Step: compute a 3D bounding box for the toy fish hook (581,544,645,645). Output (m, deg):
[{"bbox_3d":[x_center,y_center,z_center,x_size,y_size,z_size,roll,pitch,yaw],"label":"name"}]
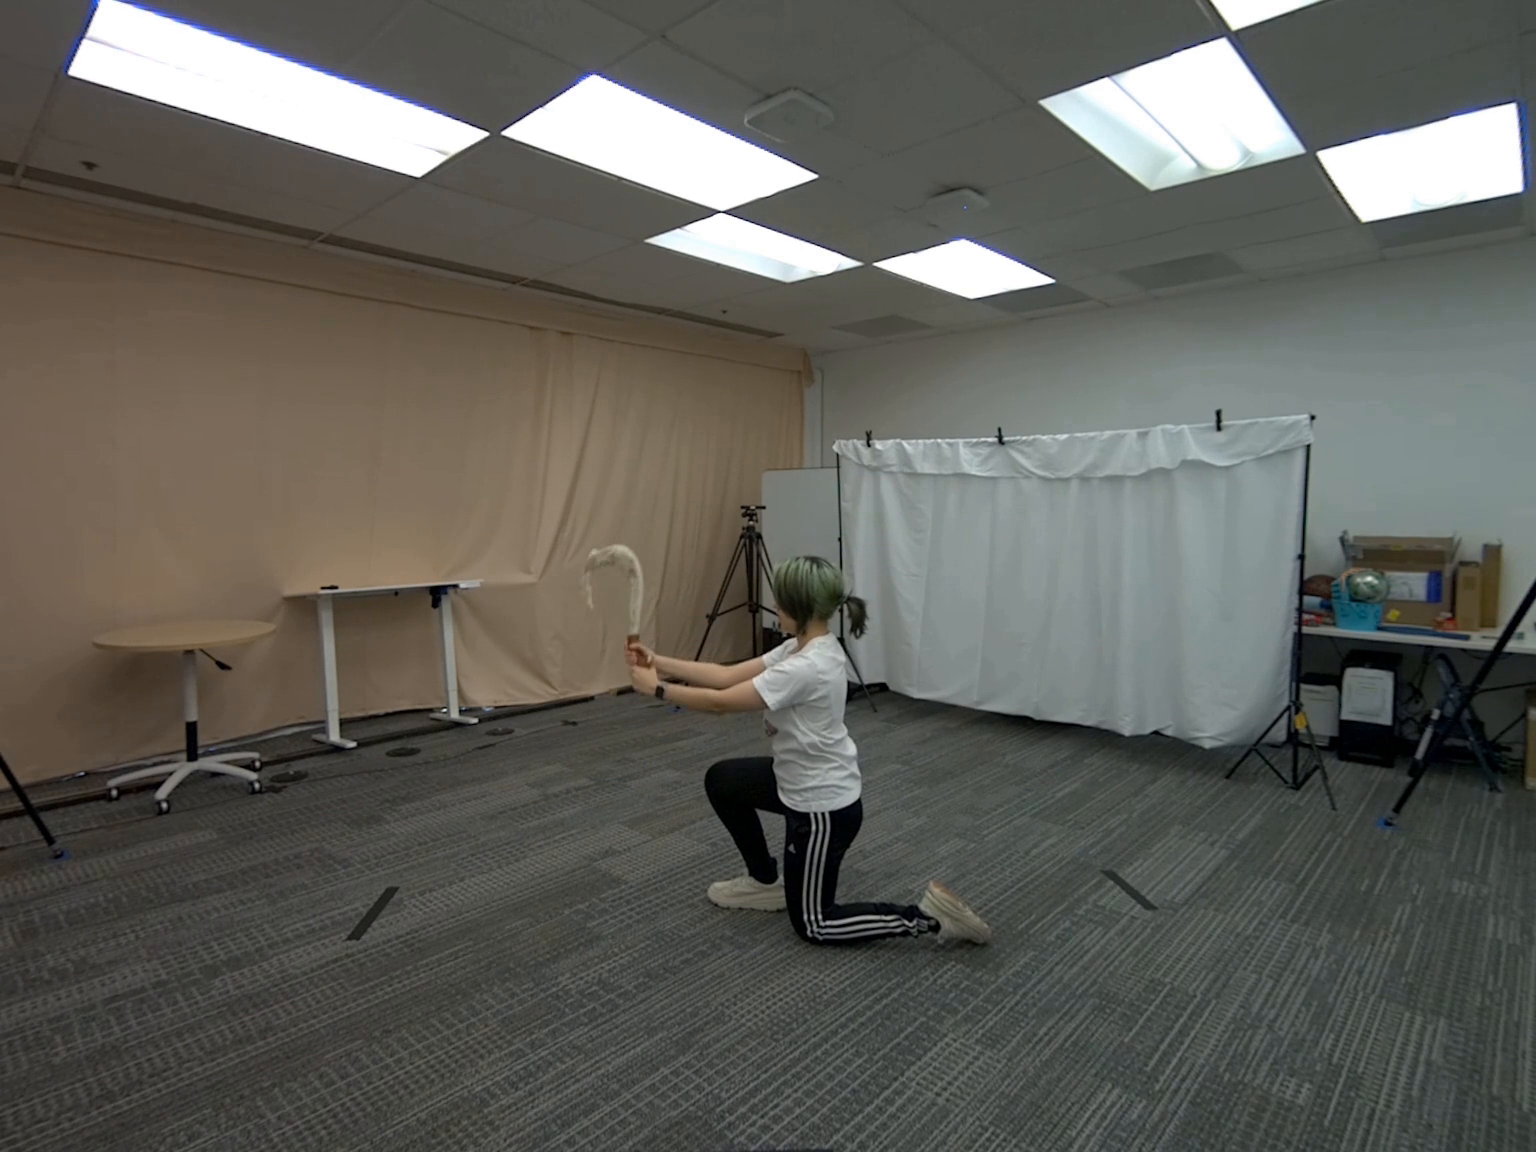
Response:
[{"bbox_3d":[-0.475,0.171,2.801,0.228,0.509,0.047,-12,-7,16],"label":"toy fish hook"}]
